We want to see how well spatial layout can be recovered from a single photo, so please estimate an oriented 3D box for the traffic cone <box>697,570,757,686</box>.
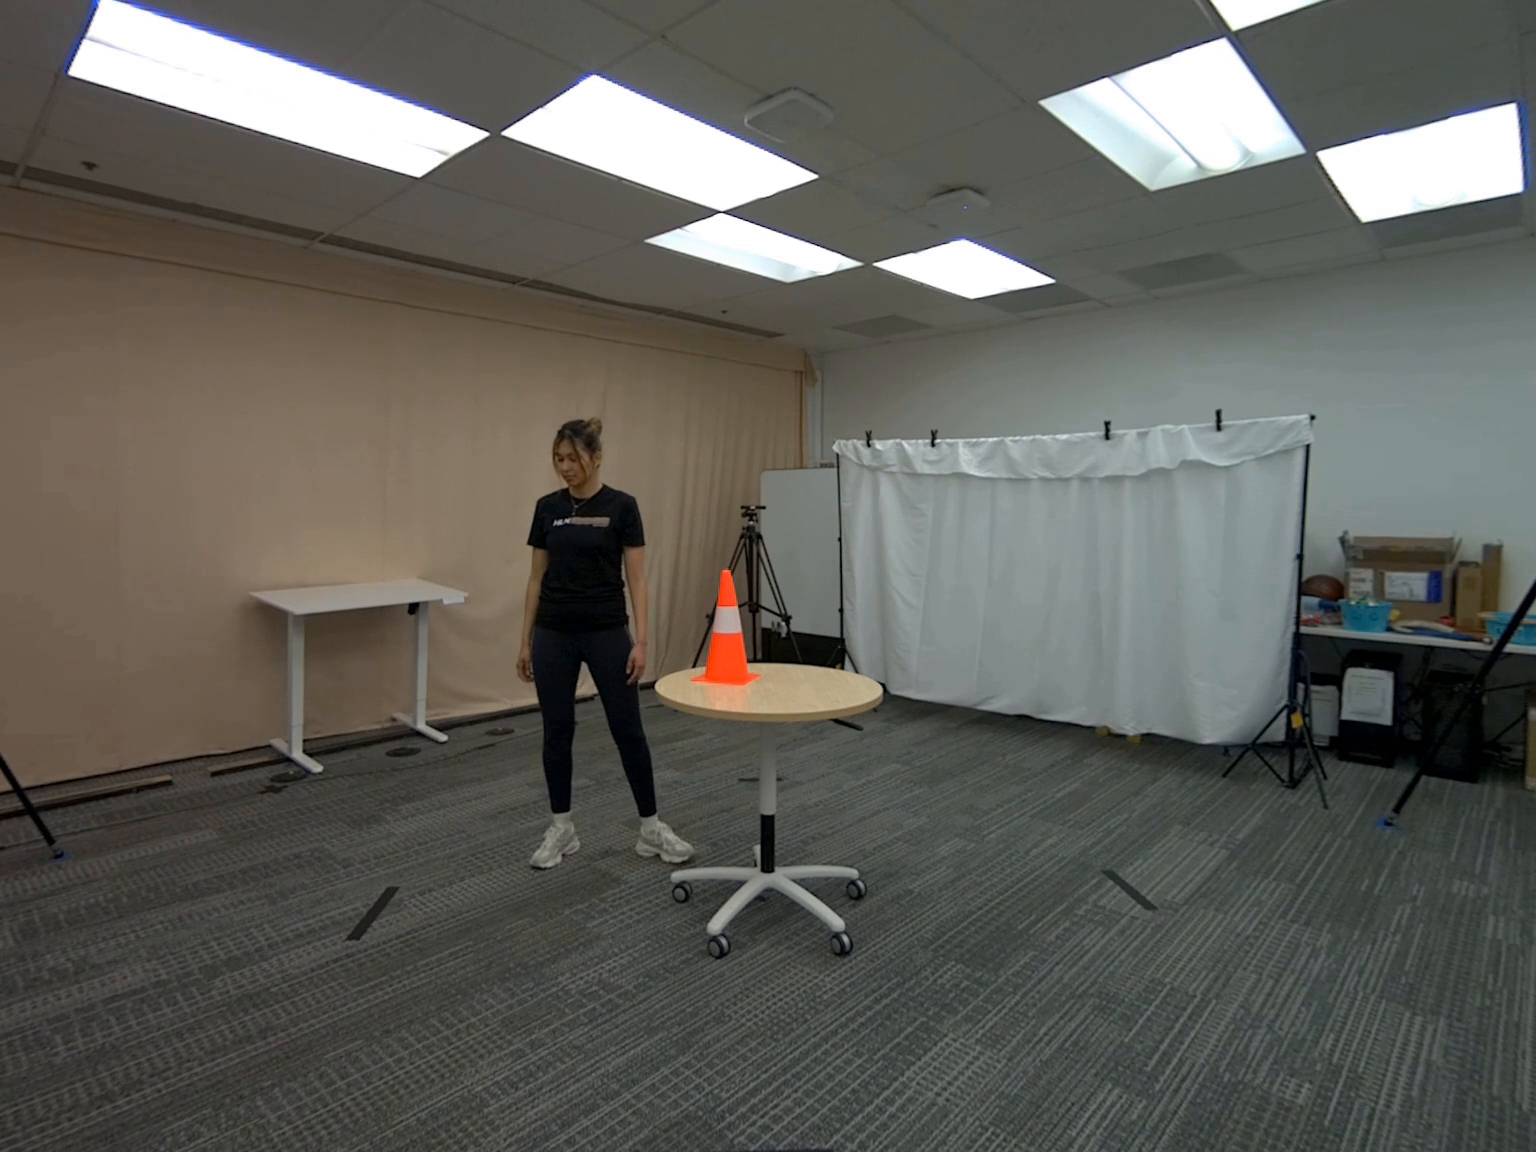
[{"bbox_3d":[-0.146,0.175,2.962,0.209,0.383,0.199,0,3,21],"label":"traffic cone"}]
